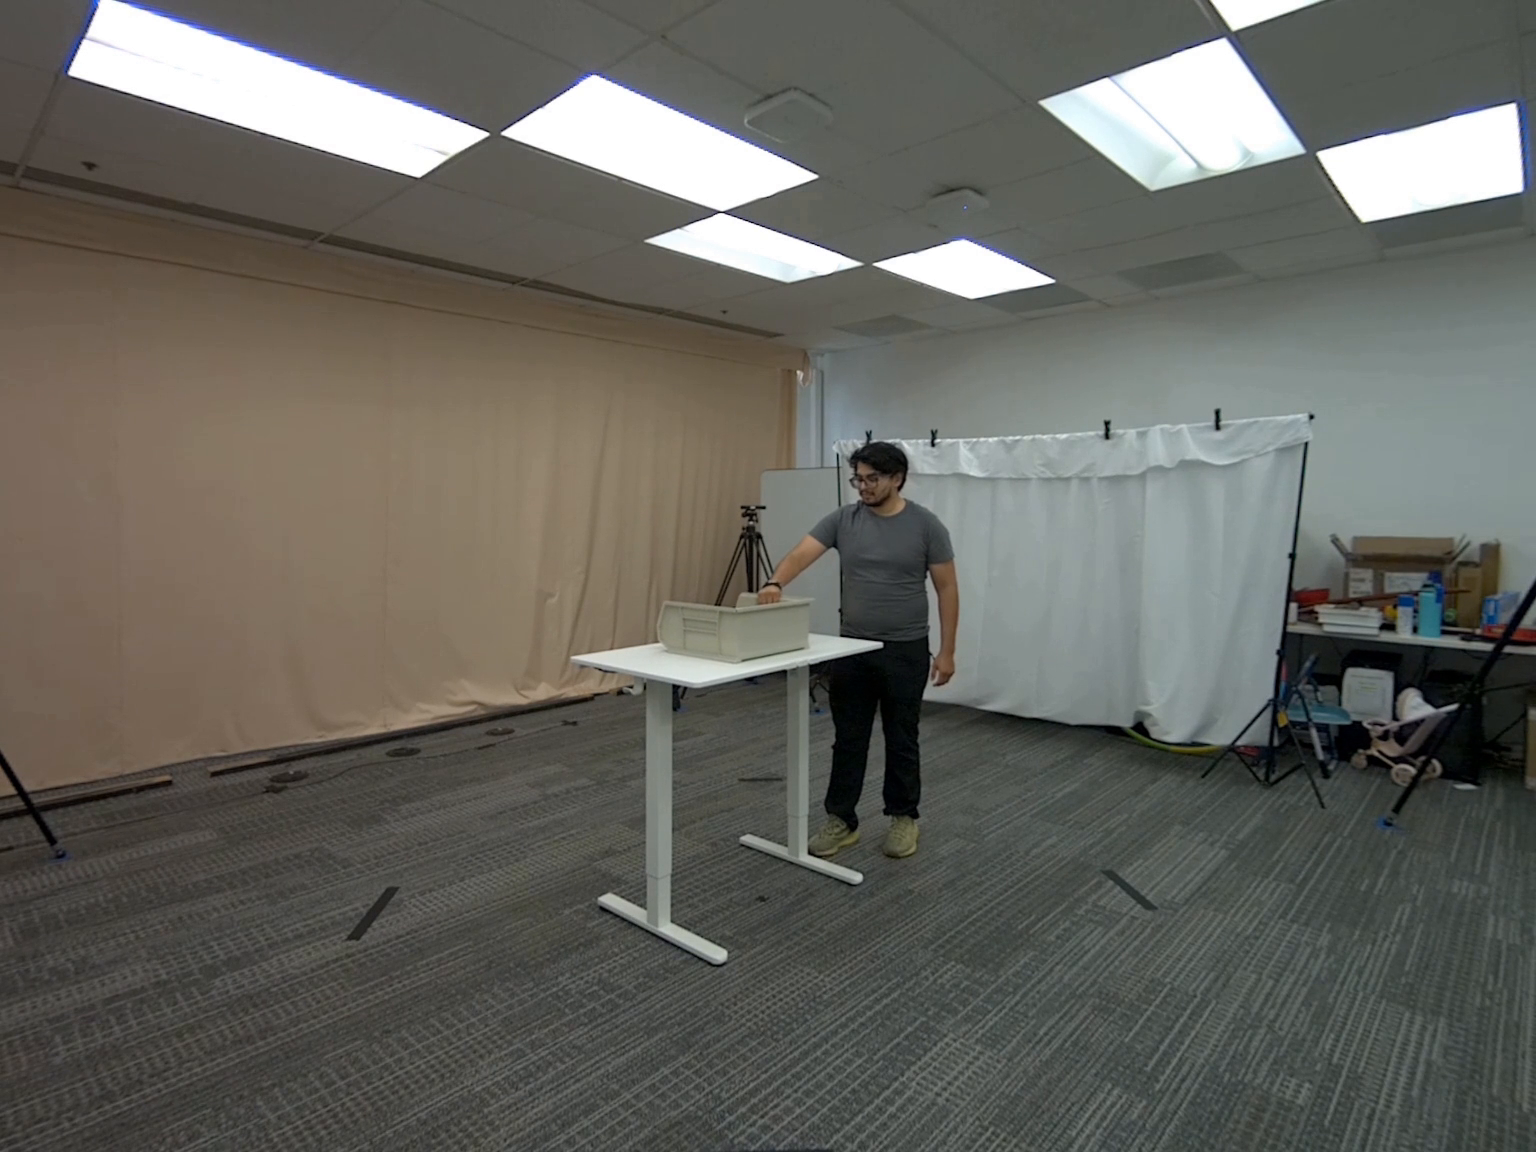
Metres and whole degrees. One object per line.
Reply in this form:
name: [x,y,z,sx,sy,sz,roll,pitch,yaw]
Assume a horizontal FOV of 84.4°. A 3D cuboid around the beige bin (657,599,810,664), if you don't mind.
beige bin: [-0.113,0.172,2.971,0.390,0.188,0.409,6,7,41]
